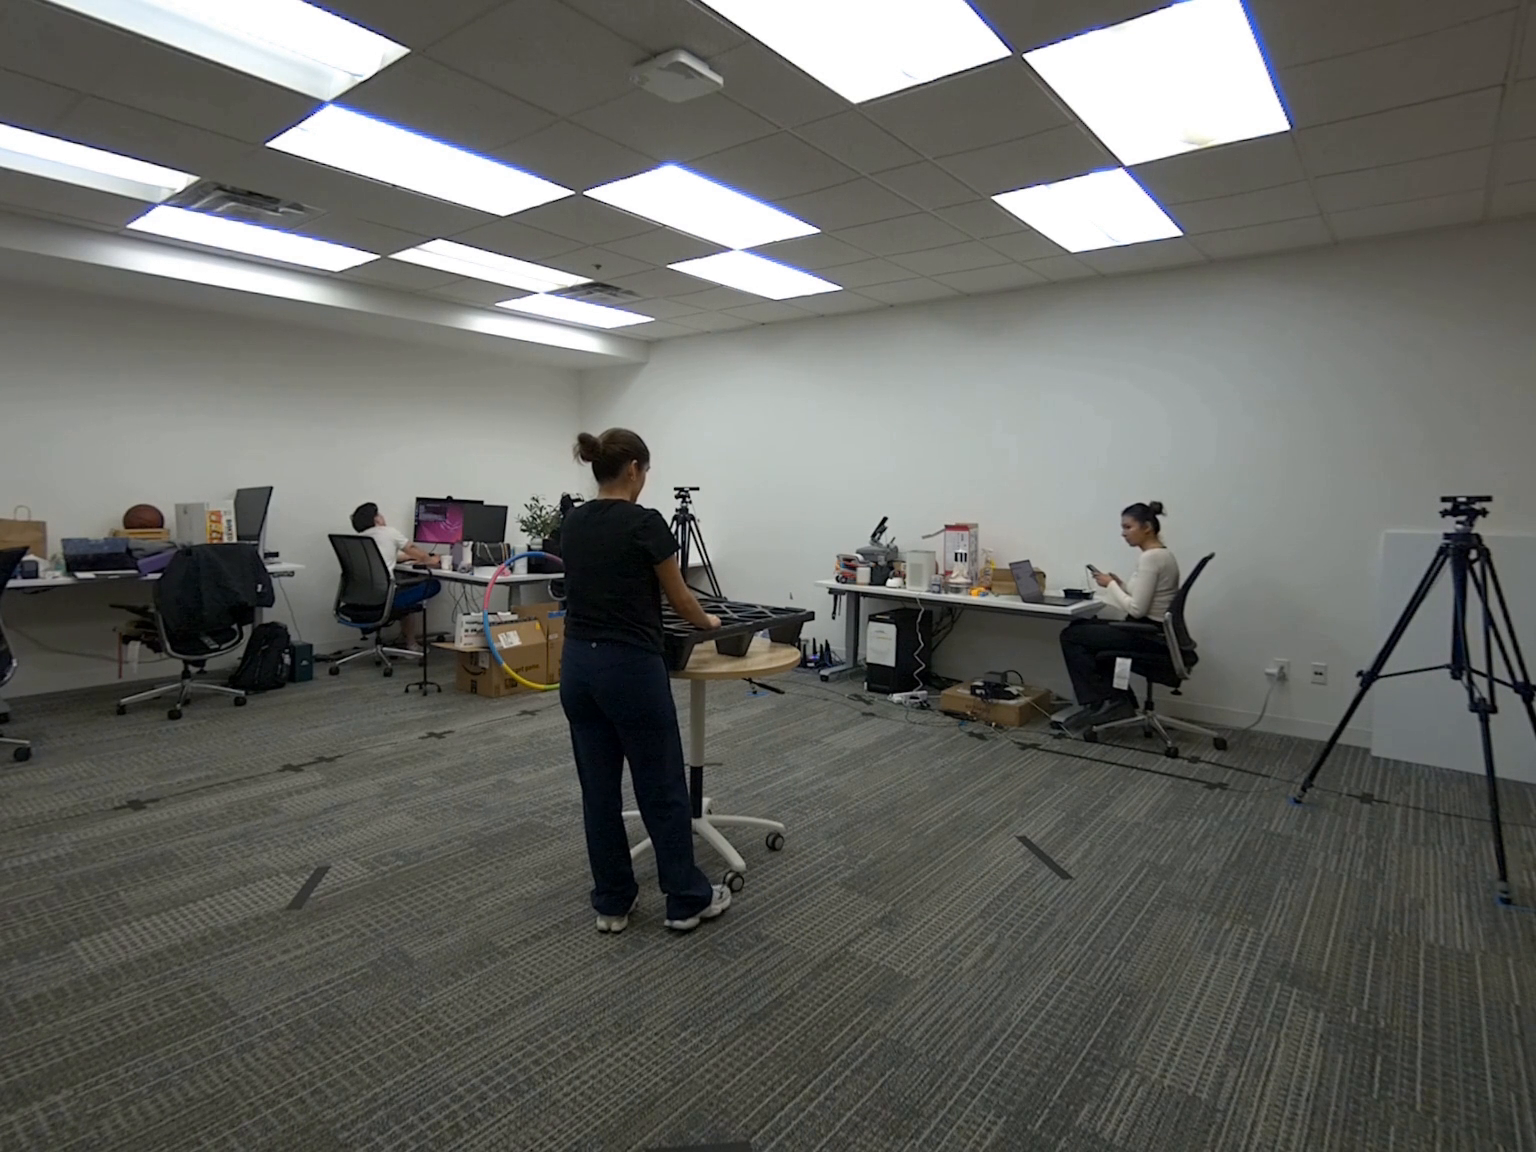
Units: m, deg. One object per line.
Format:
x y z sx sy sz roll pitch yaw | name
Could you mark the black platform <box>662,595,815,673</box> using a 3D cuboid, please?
-0.274 0.206 3.257 0.625 0.143 0.782 5 7 38 | black platform
